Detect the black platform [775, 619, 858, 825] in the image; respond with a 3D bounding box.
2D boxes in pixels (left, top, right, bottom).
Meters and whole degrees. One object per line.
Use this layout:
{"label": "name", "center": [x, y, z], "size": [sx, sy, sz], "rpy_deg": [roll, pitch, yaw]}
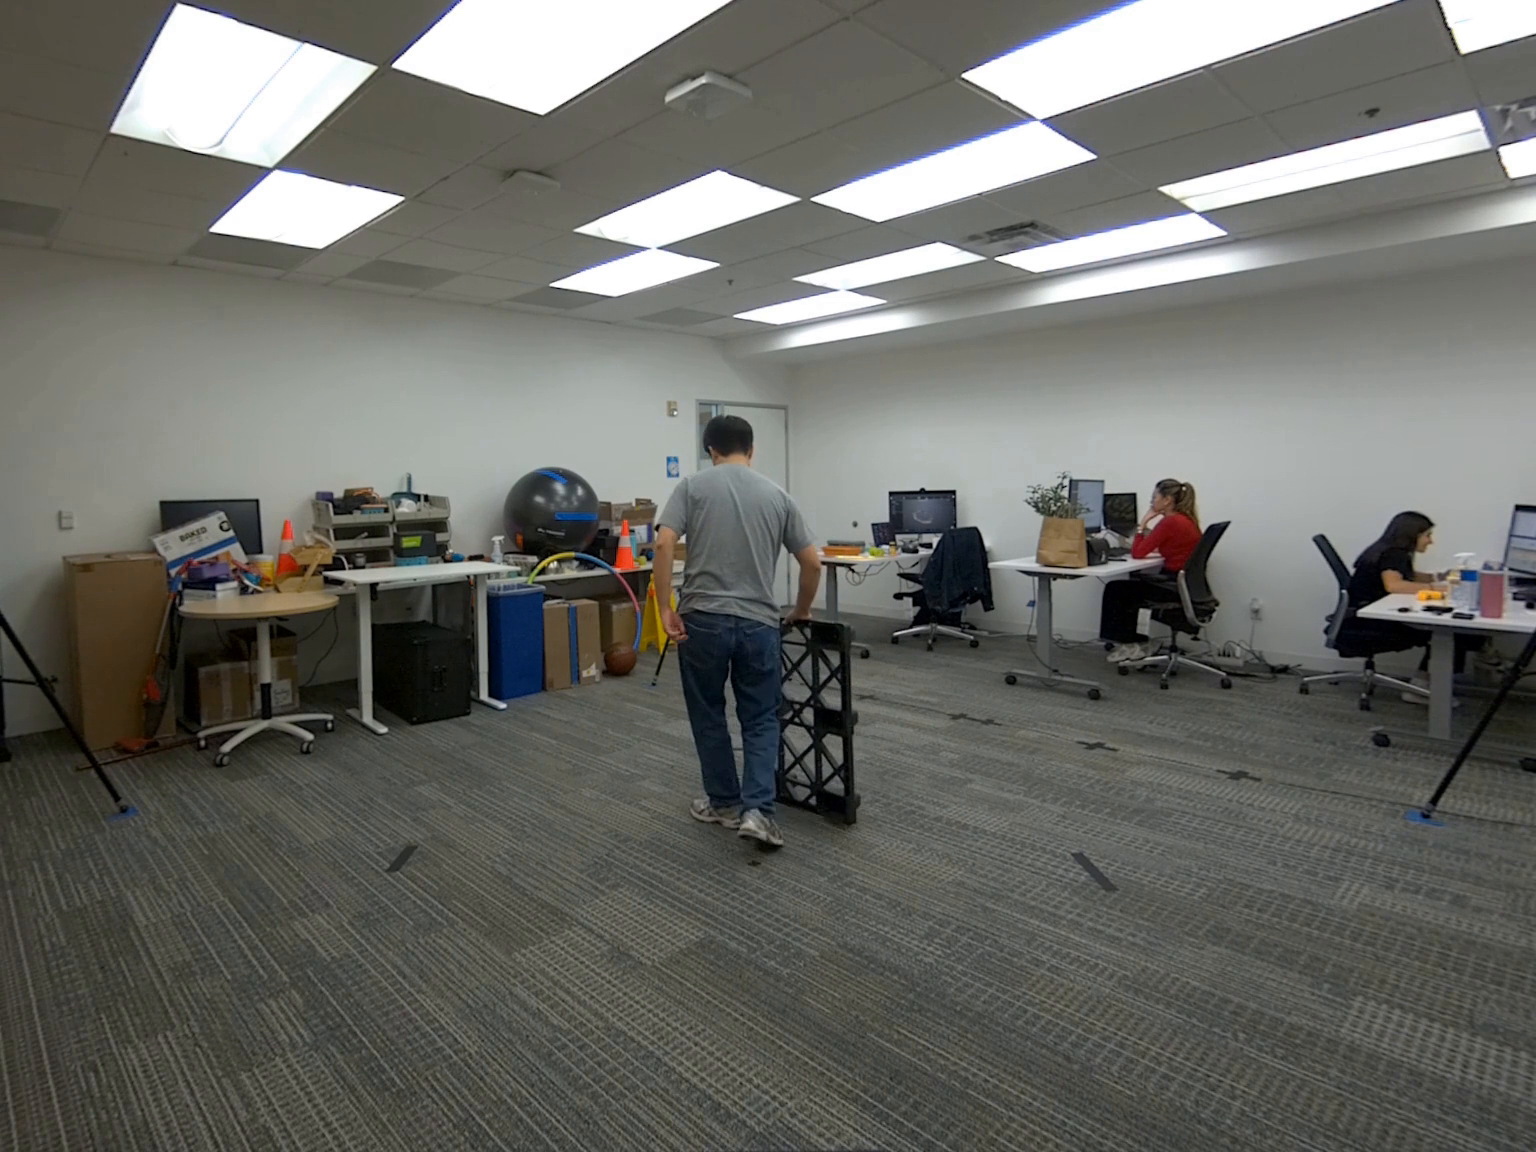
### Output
{"label": "black platform", "center": [0.159, 0.572, 3.614], "size": [0.139, 0.805, 0.622], "rpy_deg": [-2, 2, -40]}
